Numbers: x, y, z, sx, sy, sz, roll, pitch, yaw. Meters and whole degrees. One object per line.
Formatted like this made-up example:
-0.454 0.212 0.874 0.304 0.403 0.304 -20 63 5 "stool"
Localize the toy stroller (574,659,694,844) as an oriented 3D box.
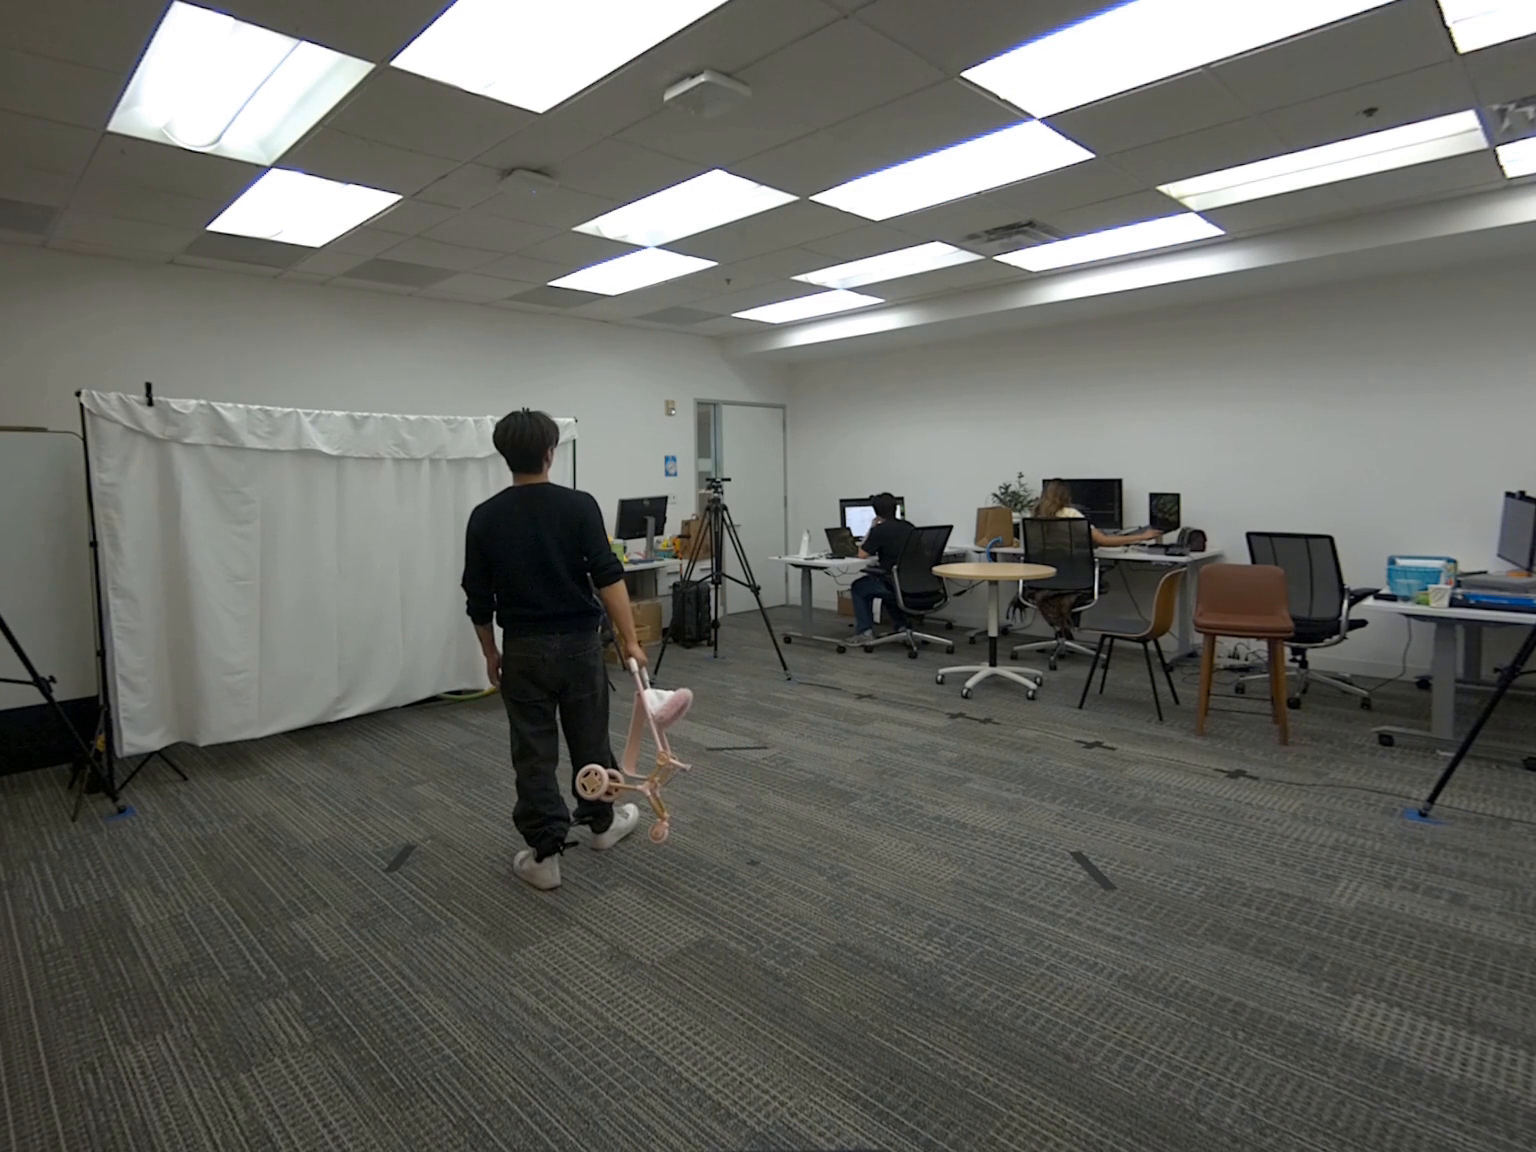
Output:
-0.387 0.585 2.877 0.348 0.539 0.274 17 -16 15 "toy stroller"
